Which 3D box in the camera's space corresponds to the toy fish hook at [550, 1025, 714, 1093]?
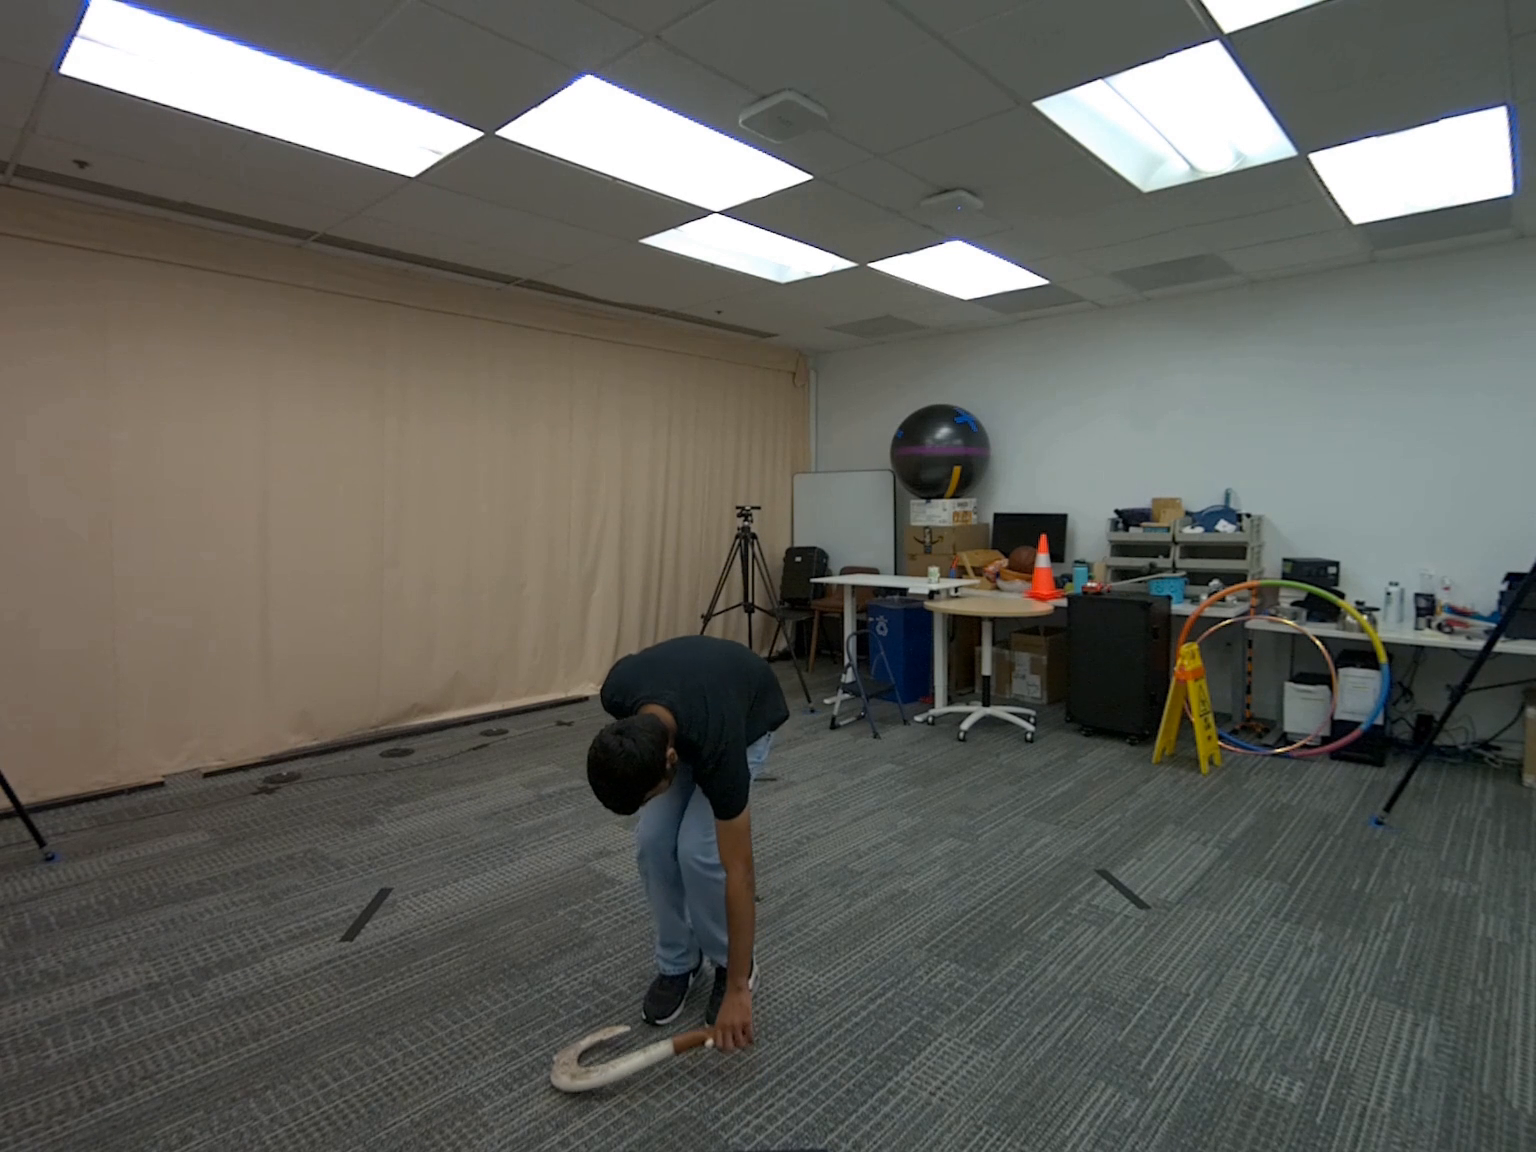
[{"bbox_3d":[-0.283,1.147,2.080,0.505,0.048,0.226,-12,6,-4],"label":"toy fish hook"}]
